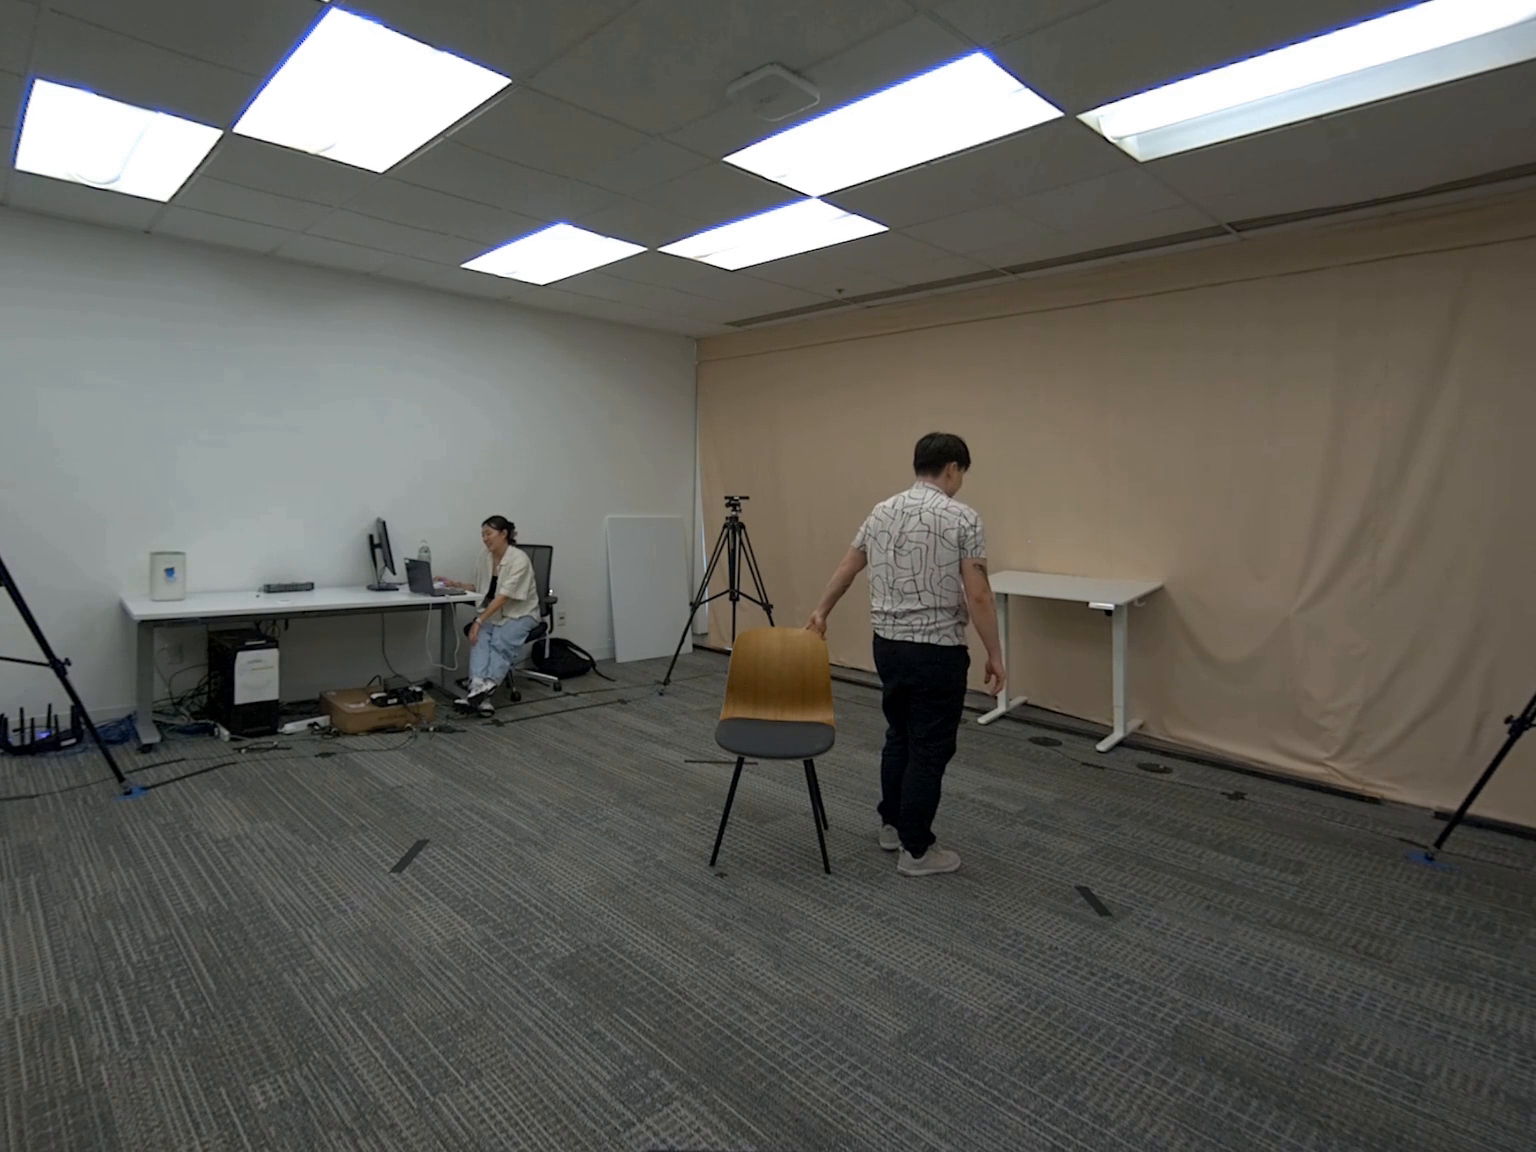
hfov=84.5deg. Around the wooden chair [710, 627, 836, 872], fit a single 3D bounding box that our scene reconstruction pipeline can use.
[{"bbox_3d":[0.027,0.656,3.337,0.480,0.878,0.520,2,-1,4],"label":"wooden chair"}]
